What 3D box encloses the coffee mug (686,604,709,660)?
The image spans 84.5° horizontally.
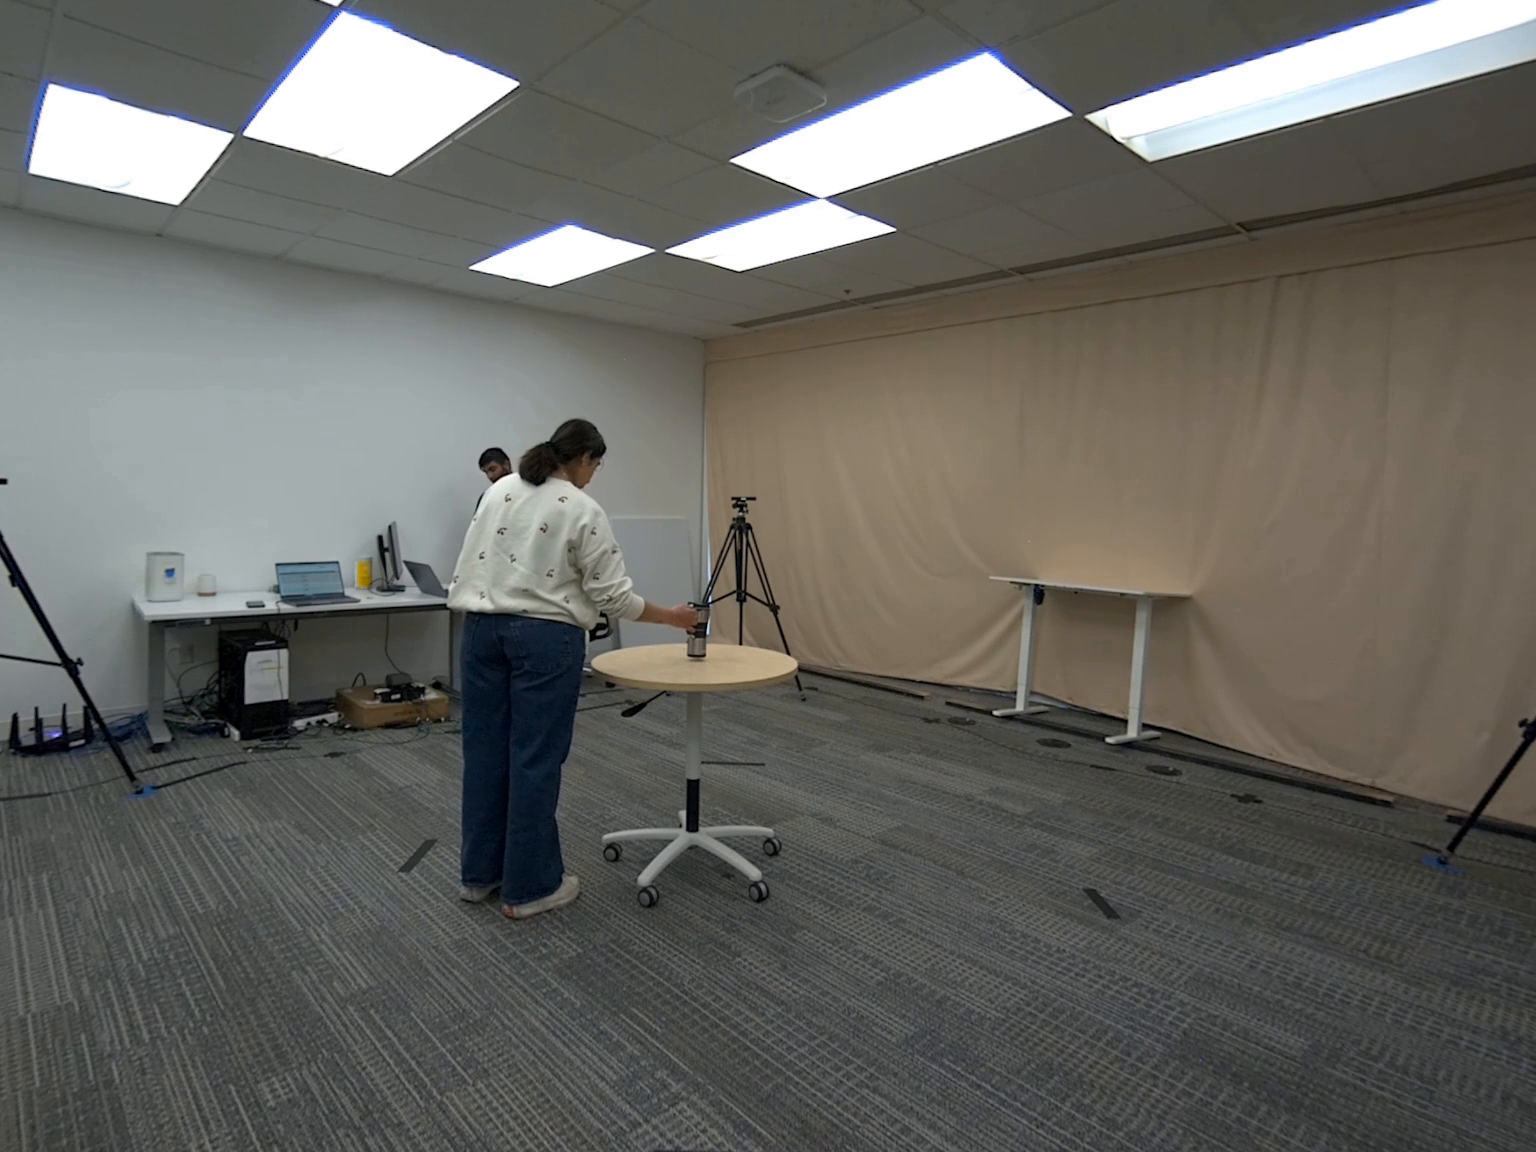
[{"bbox_3d":[-0.291,0.204,3.147,0.119,0.203,0.090,6,0,-39],"label":"coffee mug"}]
